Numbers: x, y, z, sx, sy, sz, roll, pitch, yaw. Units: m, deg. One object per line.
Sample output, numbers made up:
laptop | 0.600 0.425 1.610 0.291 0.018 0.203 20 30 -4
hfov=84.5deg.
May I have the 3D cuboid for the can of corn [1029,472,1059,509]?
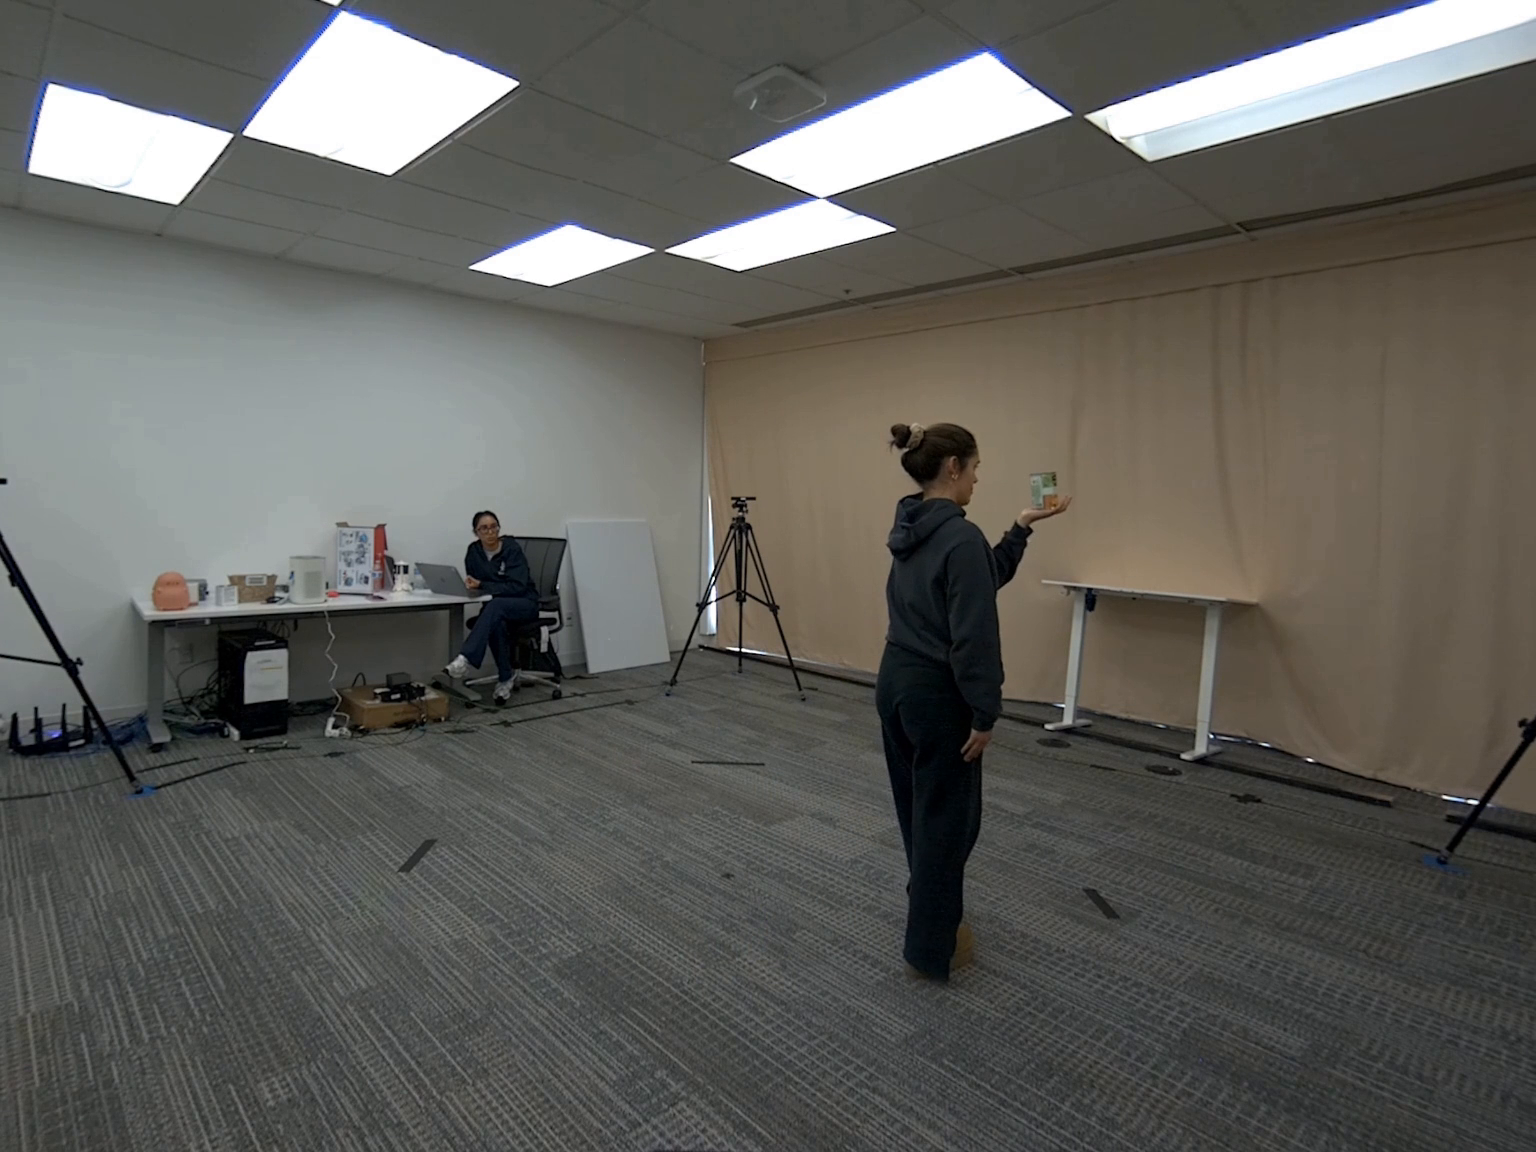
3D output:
can of corn | 0.820 -0.246 2.586 0.074 0.111 0.074 -4 1 -1
